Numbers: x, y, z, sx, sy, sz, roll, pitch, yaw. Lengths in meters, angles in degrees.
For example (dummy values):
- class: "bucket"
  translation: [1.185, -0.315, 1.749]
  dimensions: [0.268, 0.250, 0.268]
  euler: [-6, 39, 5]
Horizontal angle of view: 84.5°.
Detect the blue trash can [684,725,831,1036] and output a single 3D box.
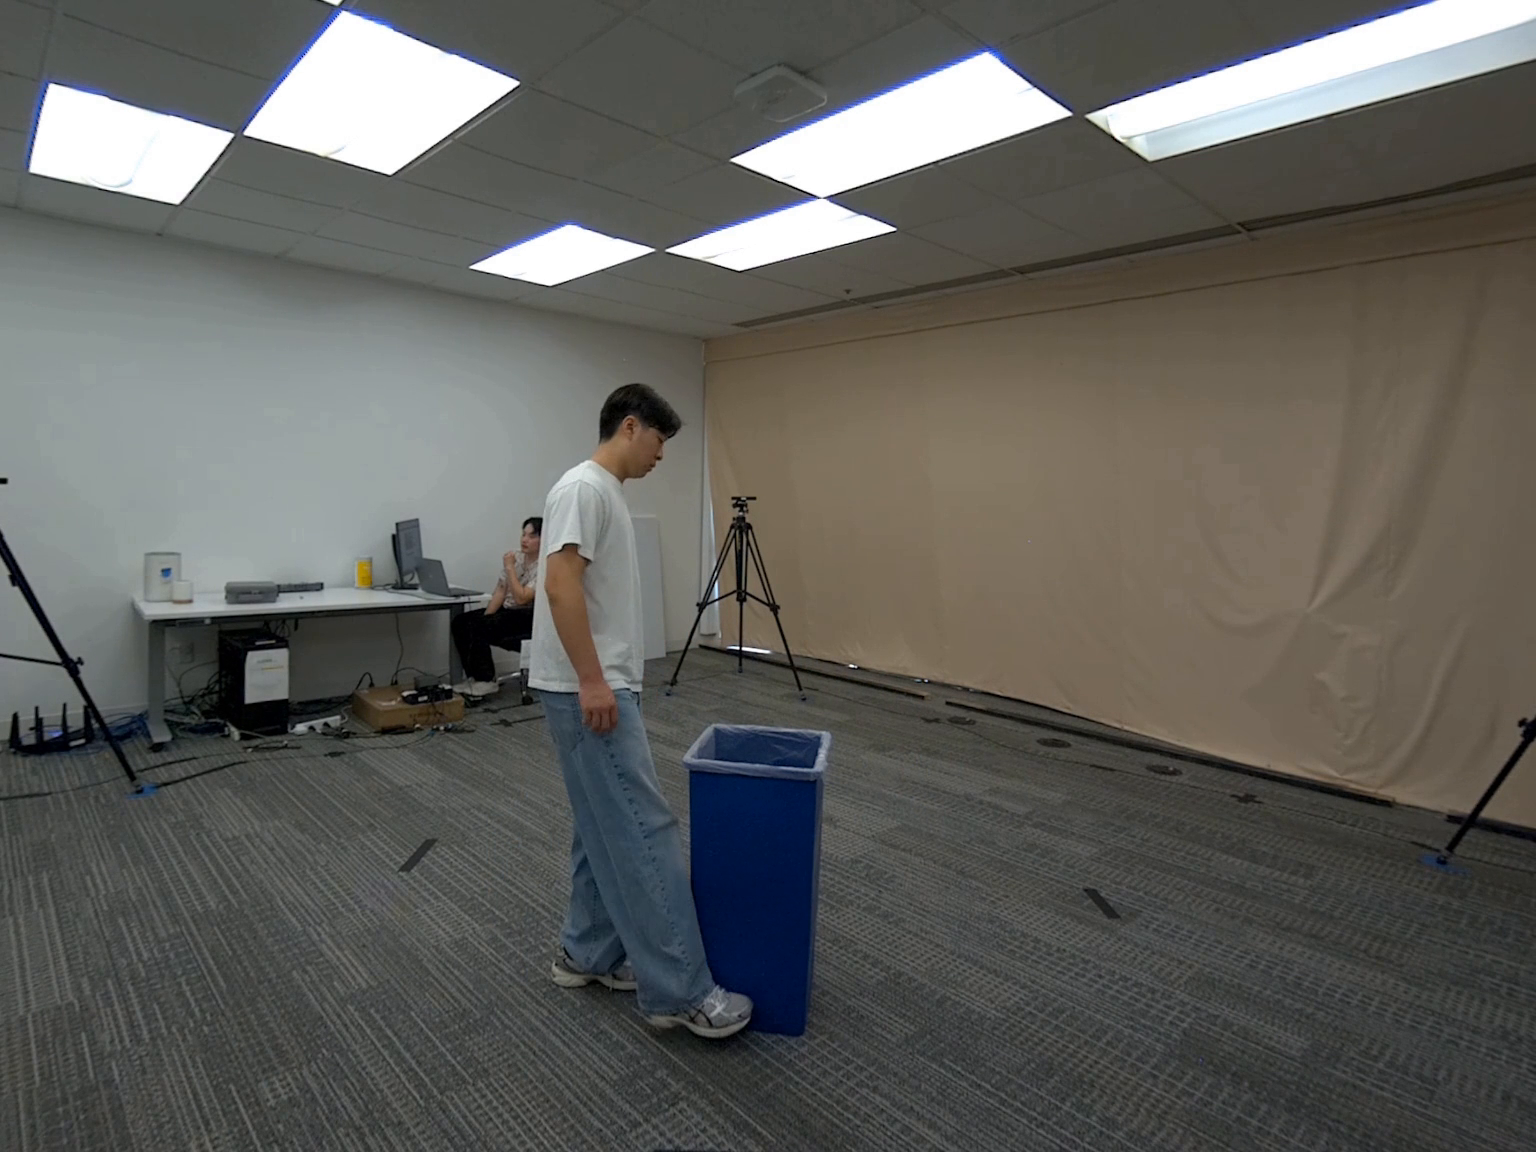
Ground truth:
- class: "blue trash can"
  translation: [-0.039, 0.820, 2.332]
  dimensions: [0.377, 0.712, 0.376]
  euler: [2, 3, 9]
